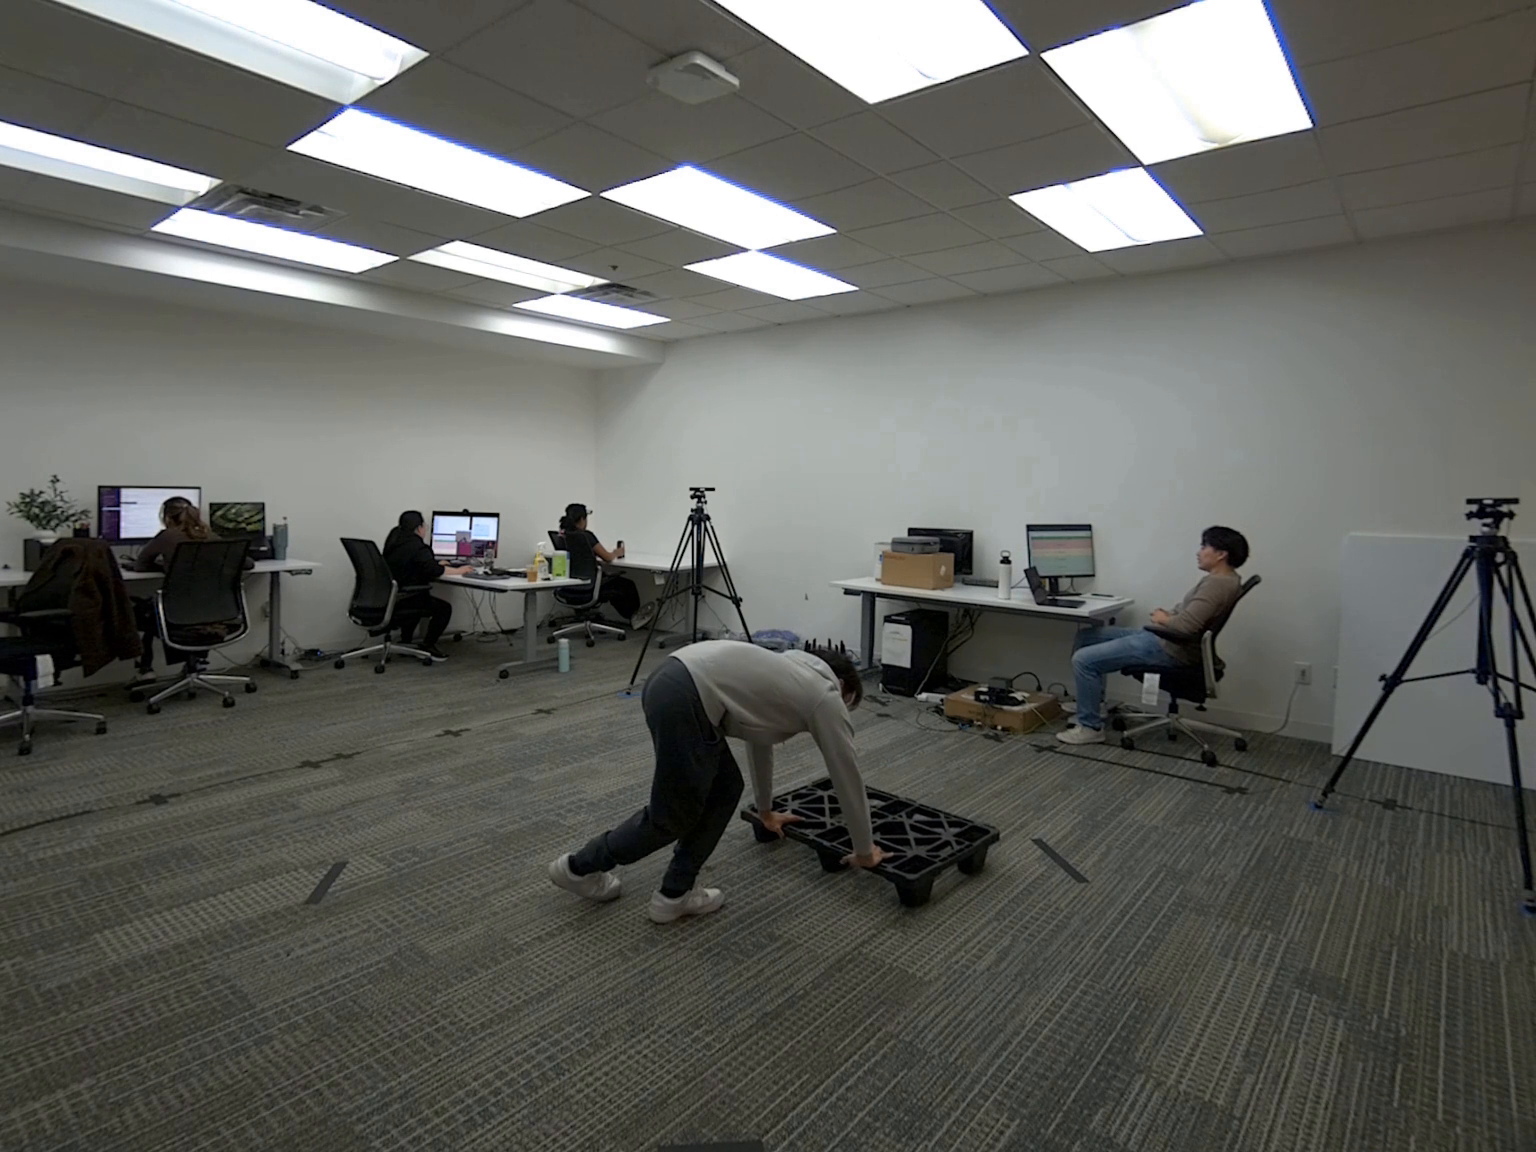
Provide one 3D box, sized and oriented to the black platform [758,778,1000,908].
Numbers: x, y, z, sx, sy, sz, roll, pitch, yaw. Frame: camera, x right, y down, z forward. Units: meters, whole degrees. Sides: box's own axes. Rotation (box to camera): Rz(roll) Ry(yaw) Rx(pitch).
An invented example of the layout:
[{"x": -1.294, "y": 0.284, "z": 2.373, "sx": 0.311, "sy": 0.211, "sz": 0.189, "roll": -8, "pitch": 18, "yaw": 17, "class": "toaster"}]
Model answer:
[{"x": 0.369, "y": 0.993, "z": 3.270, "sx": 0.834, "sy": 0.143, "sz": 0.587, "roll": 7, "pitch": 8, "yaw": 44, "class": "black platform"}]
